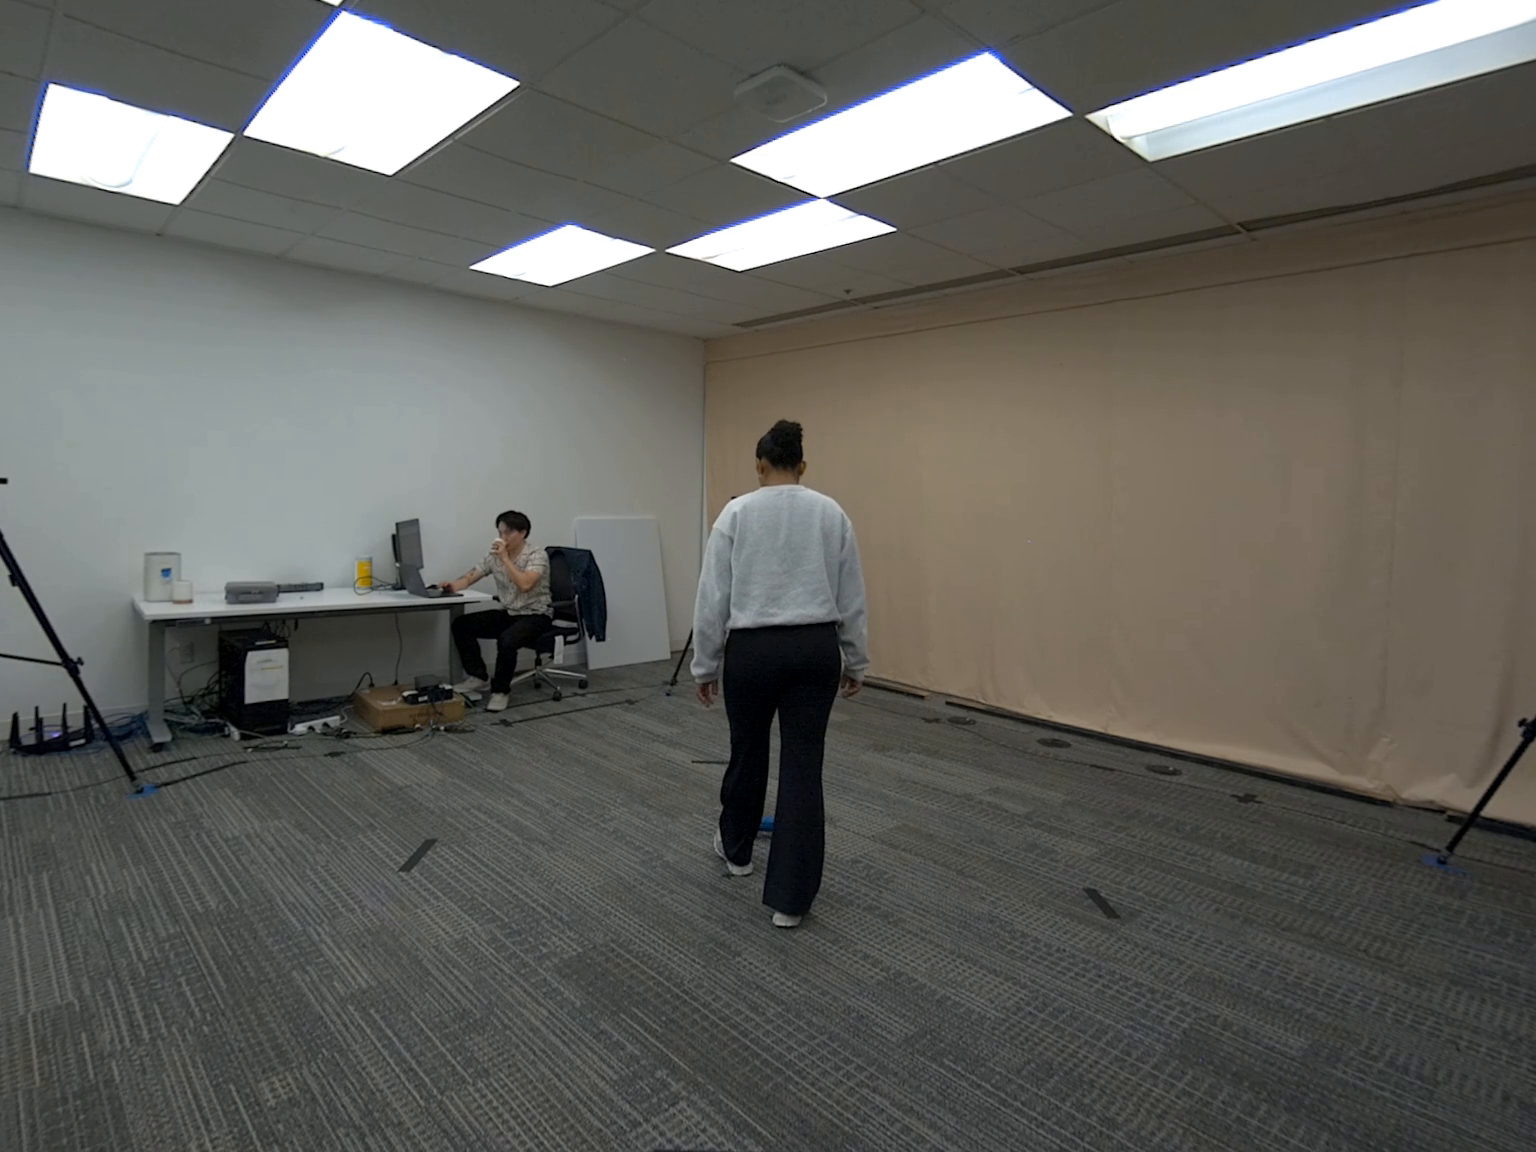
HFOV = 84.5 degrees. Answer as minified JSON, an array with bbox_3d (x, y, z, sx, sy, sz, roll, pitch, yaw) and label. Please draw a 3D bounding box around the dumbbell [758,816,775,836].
[{"bbox_3d":[-0.024,1.028,3.467,0.294,0.120,0.111,2,34,2],"label":"dumbbell"}]
